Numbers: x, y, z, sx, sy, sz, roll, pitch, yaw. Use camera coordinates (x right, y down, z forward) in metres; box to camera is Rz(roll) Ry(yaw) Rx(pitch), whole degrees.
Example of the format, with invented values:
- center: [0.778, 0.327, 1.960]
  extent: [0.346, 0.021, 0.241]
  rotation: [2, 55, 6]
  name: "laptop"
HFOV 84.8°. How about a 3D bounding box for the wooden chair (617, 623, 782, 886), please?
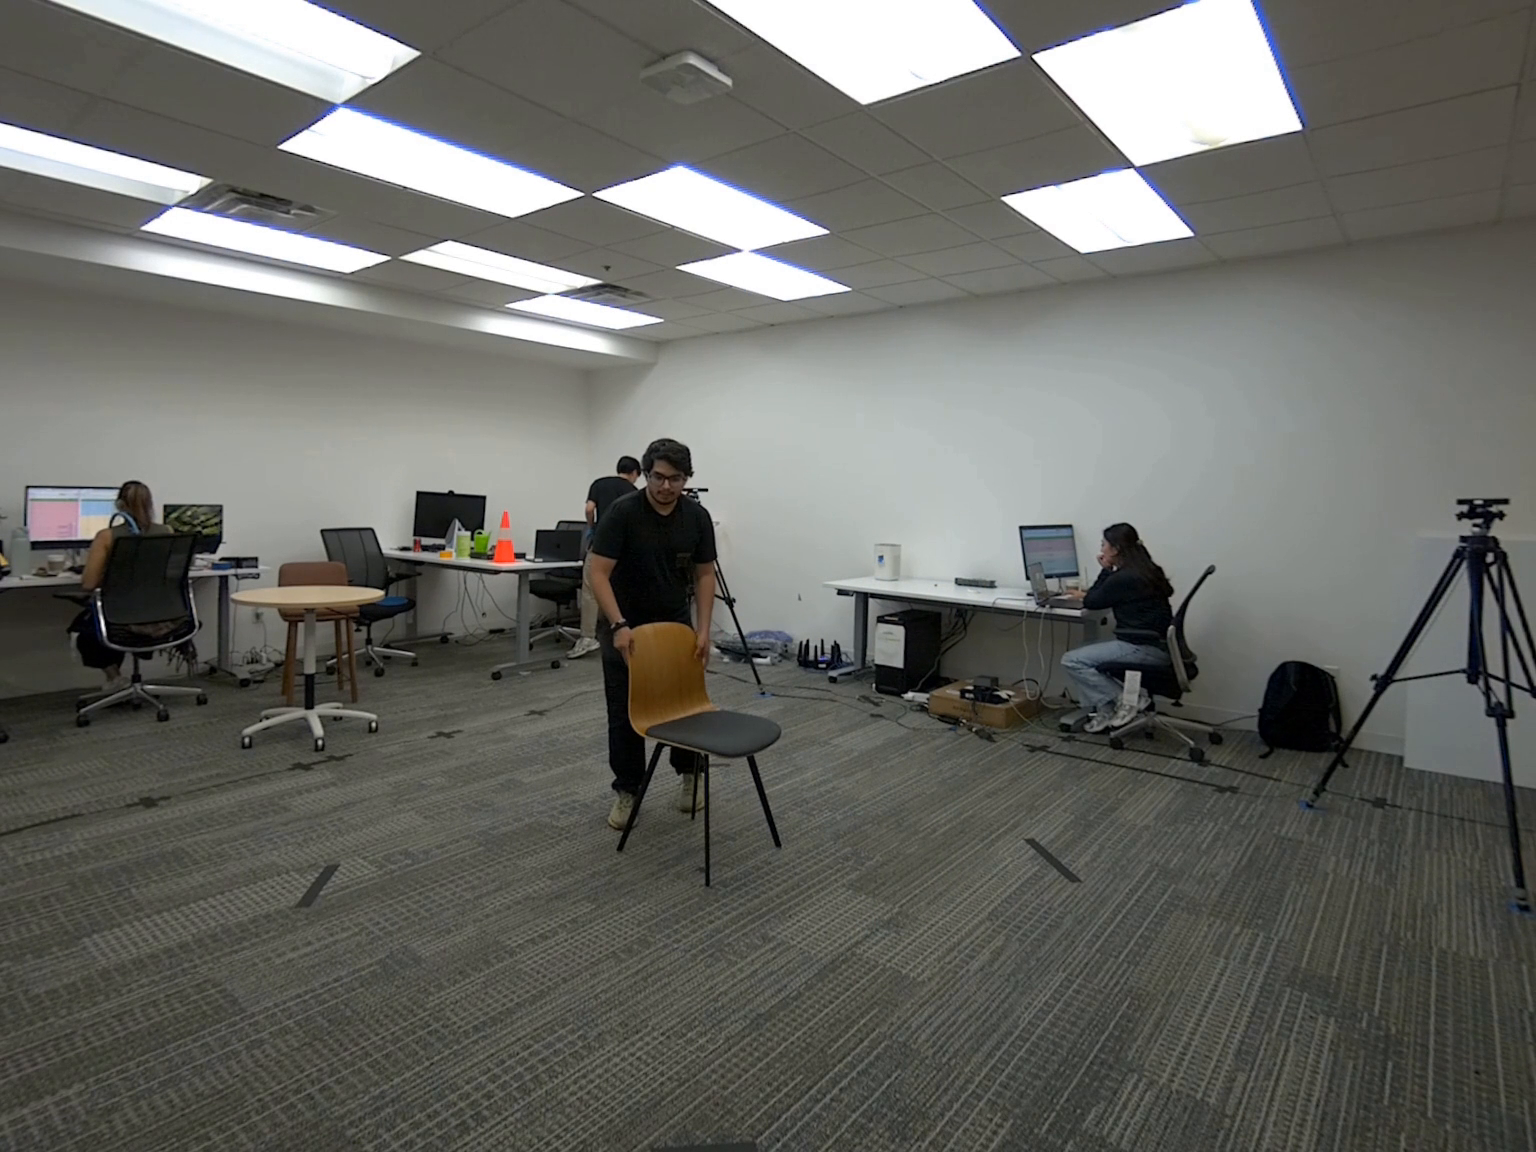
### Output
- center: [-0.253, 0.625, 3.247]
  extent: [0.539, 0.878, 0.464]
  rotation: [-2, 0, 37]
  name: "wooden chair"
